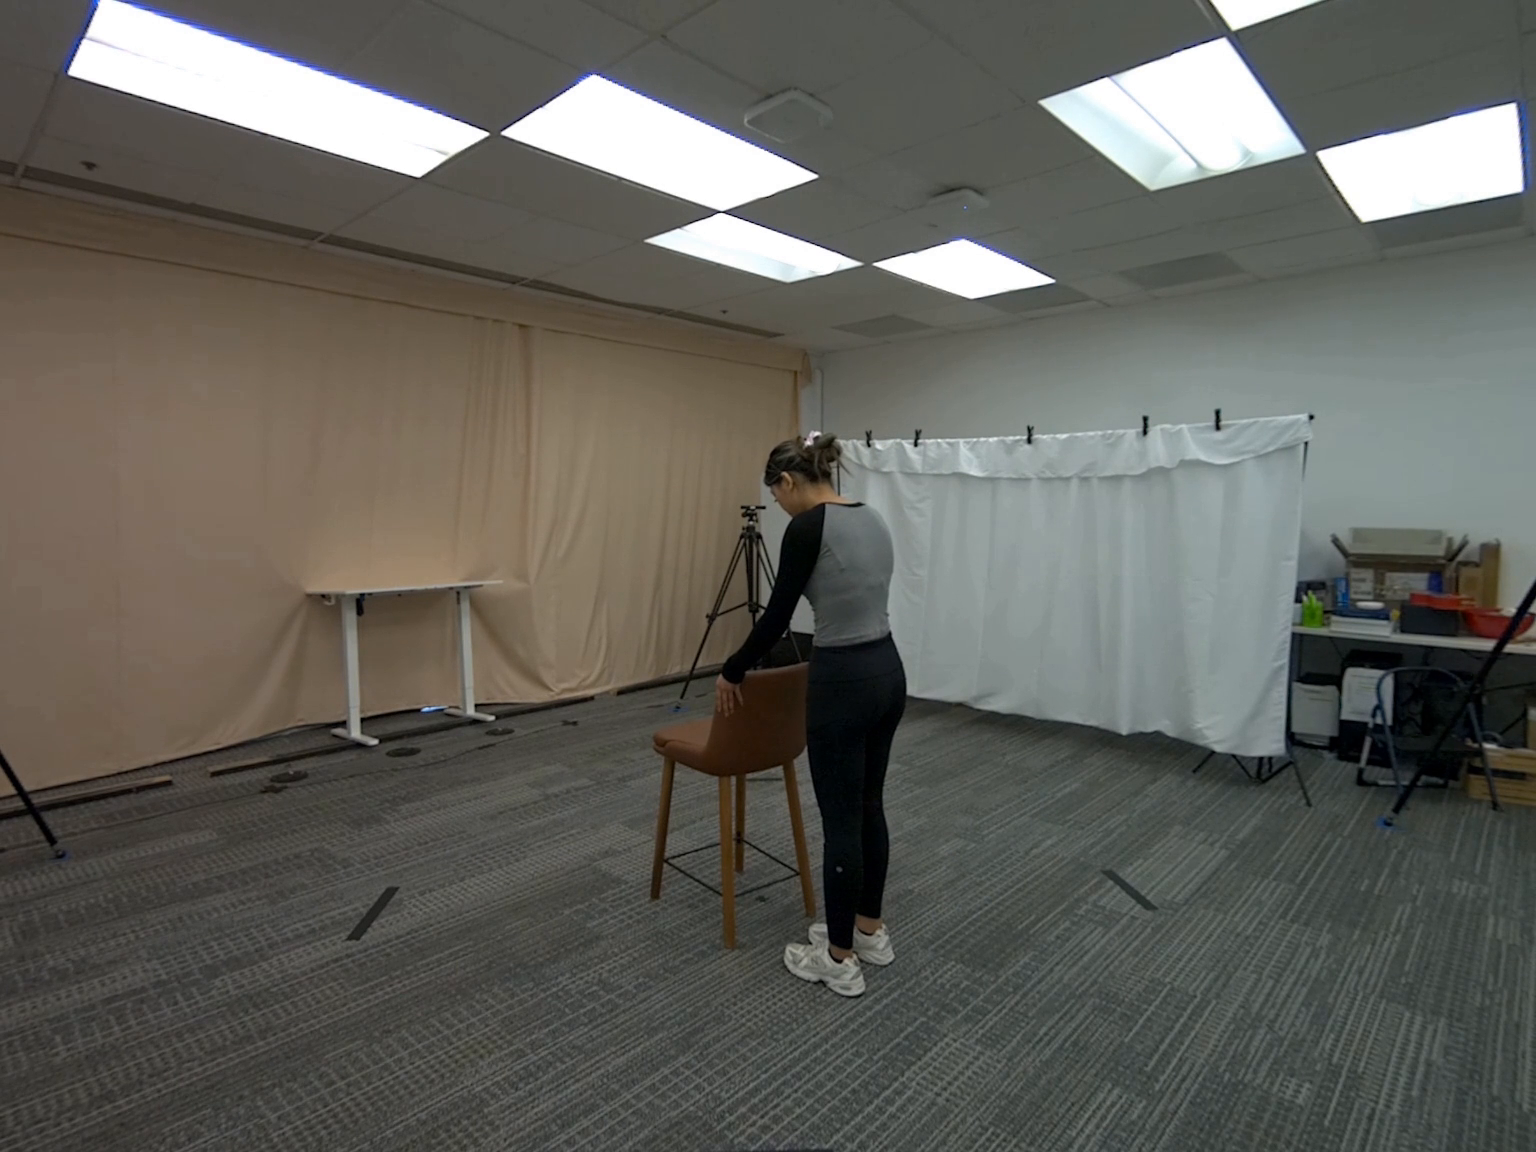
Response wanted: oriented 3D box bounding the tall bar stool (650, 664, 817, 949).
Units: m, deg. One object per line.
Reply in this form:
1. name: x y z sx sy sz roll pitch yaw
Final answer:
1. tall bar stool: -0.113 0.713 2.896 0.443 0.887 0.483 -2 7 -38
